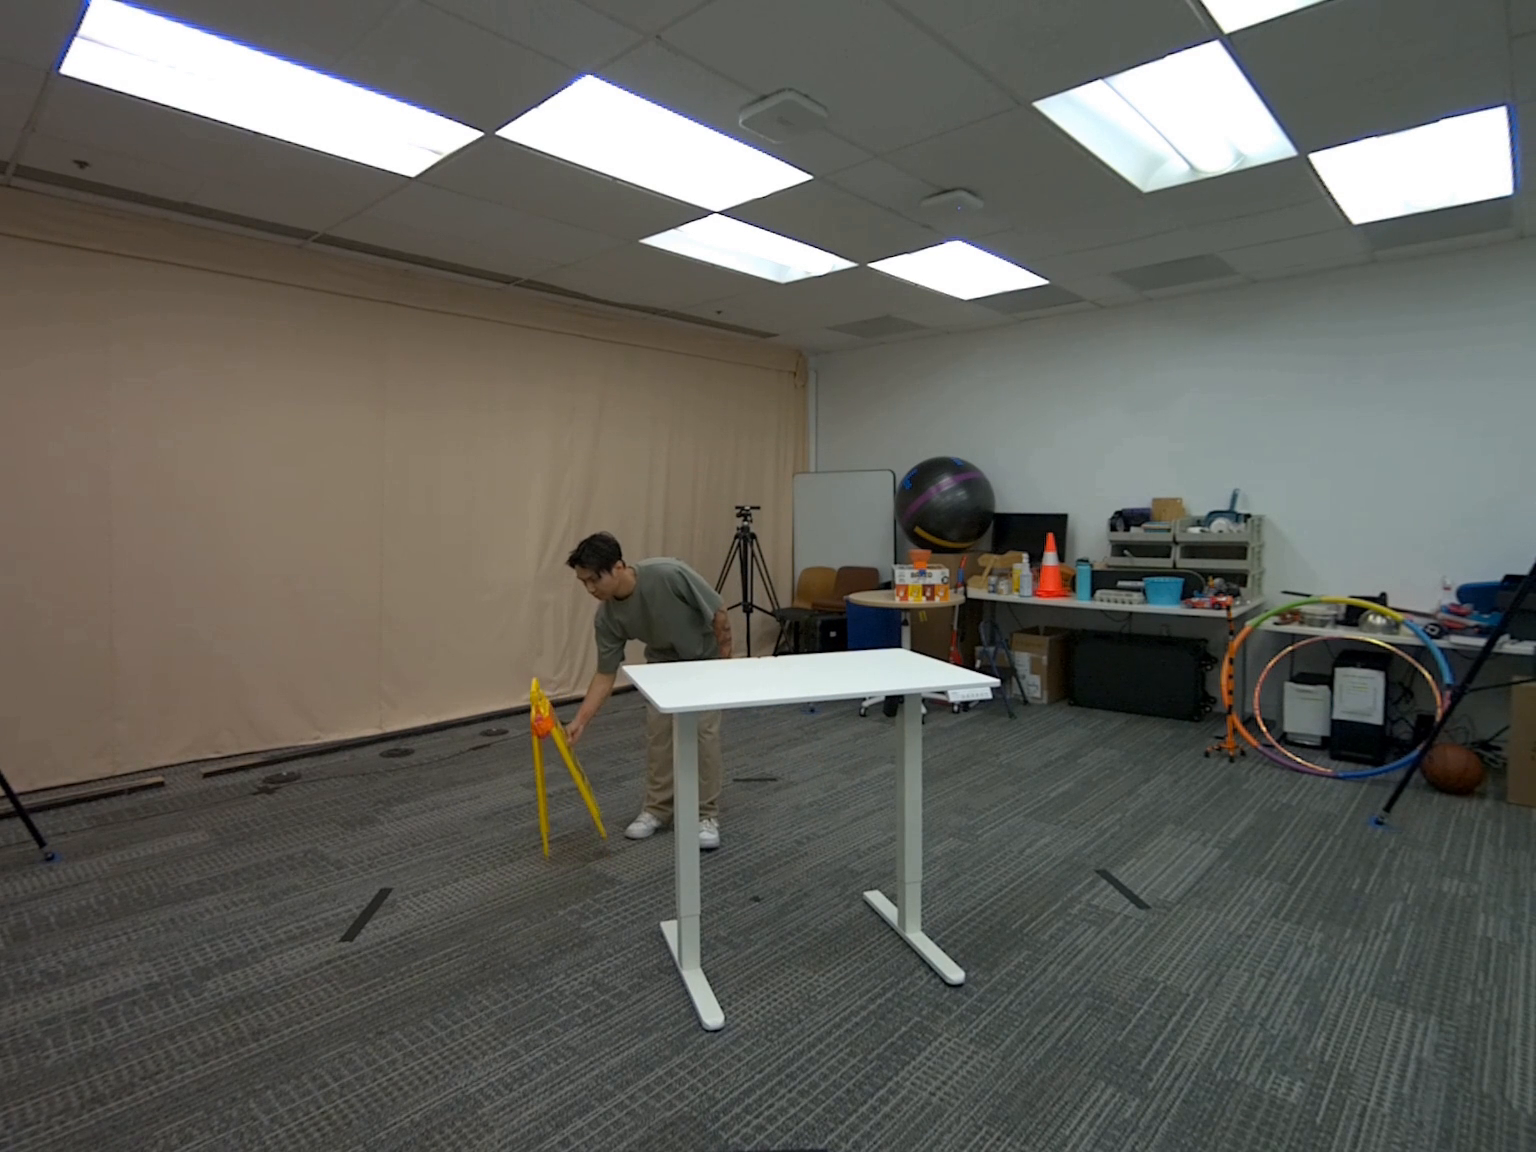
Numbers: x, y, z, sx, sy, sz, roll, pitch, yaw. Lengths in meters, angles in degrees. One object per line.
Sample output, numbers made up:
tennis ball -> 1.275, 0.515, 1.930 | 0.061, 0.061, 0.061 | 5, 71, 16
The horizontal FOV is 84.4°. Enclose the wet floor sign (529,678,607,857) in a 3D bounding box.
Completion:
wet floor sign -> -0.866, 0.730, 3.372 | 0.287, 0.641, 0.287 | -14, 9, -11
